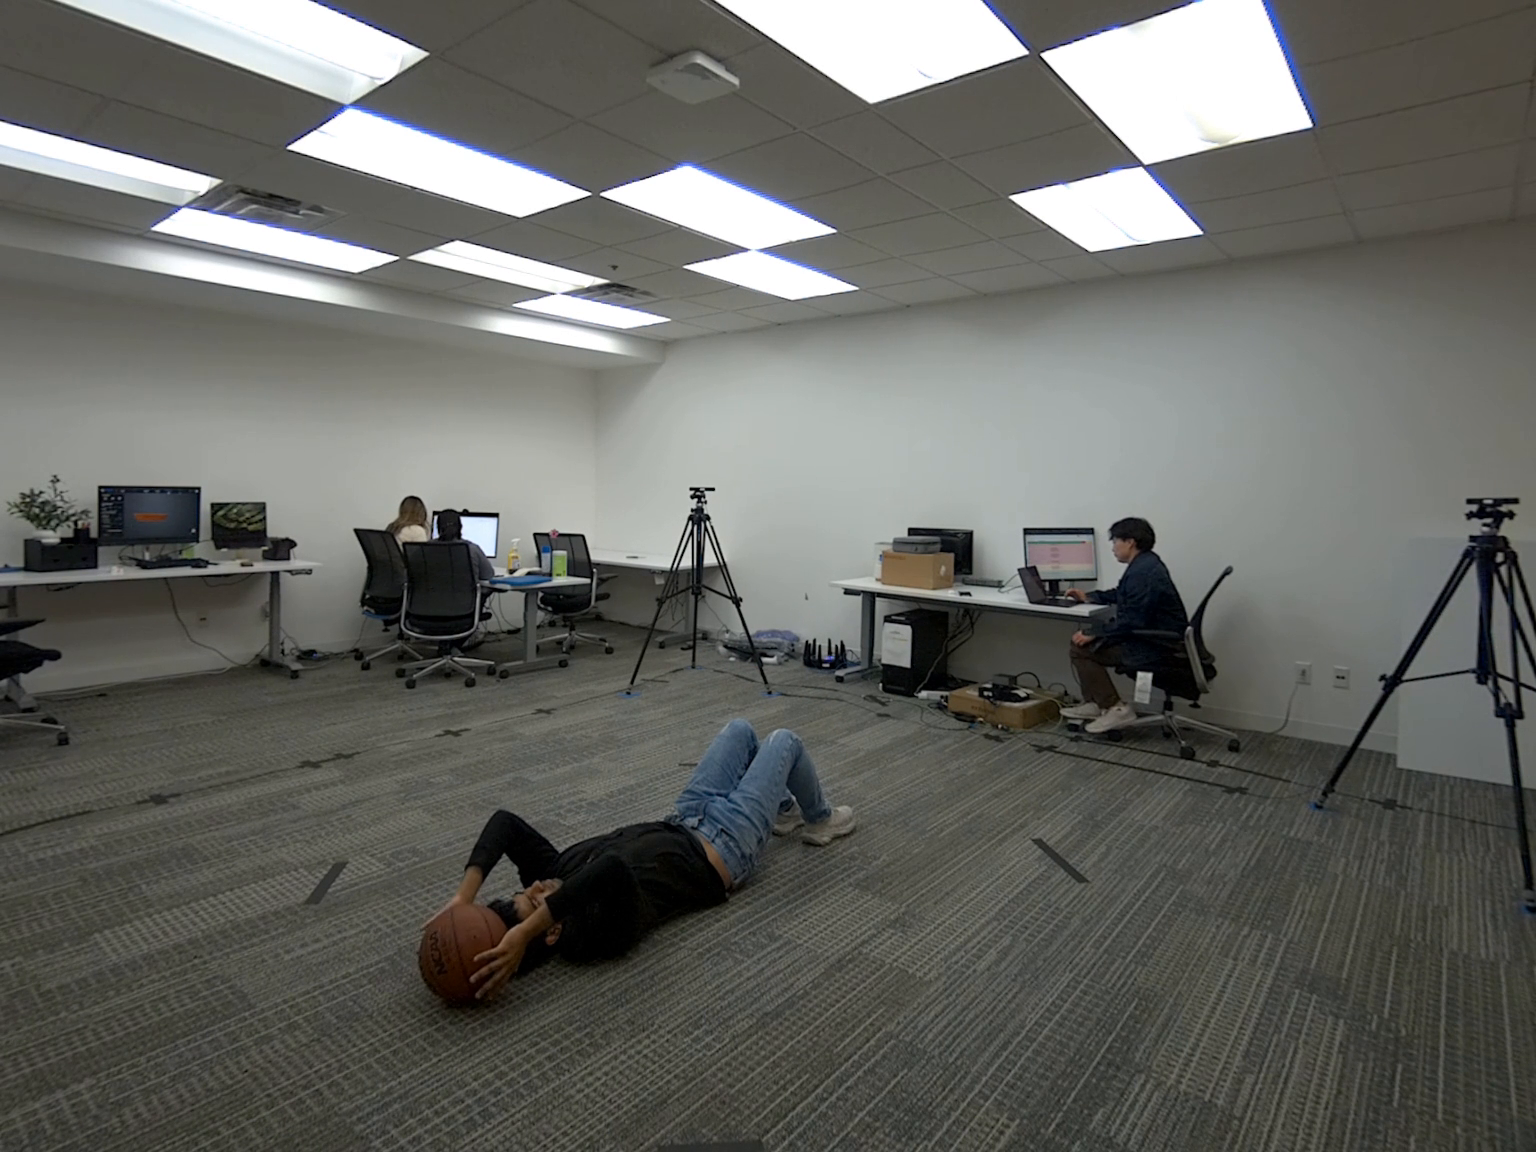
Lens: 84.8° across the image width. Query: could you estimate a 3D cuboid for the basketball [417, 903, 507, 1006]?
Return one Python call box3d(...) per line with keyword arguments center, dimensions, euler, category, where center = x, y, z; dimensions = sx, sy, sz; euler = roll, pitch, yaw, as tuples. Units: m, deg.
box3d(center=(-0.833, 1.017, 2.312), dimensions=(0.235, 0.235, 0.237), euler=(1, 4, -2), category="basketball")
